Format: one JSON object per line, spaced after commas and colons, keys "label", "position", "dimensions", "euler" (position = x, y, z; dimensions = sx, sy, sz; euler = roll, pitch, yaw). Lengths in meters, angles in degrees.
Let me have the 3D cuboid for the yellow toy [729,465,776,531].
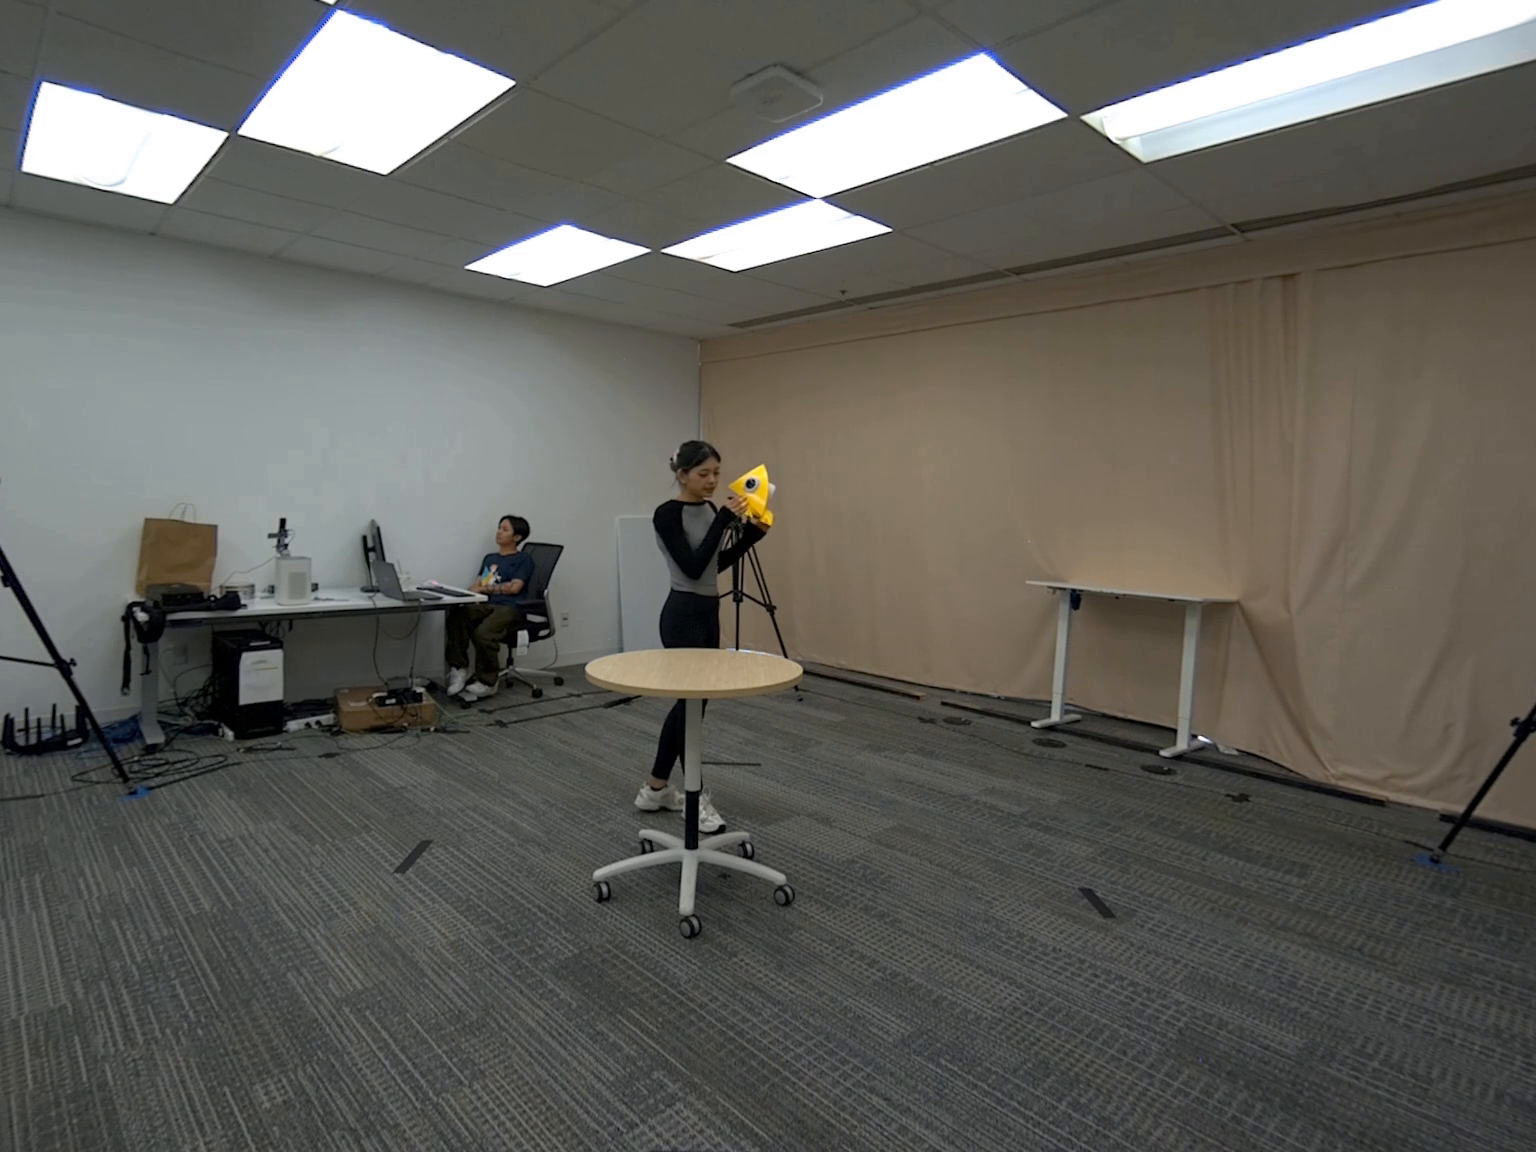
{"label": "yellow toy", "position": [-0.055, -0.368, 3.637], "dimensions": [0.199, 0.230, 0.198], "euler": [22, 4, -33]}
